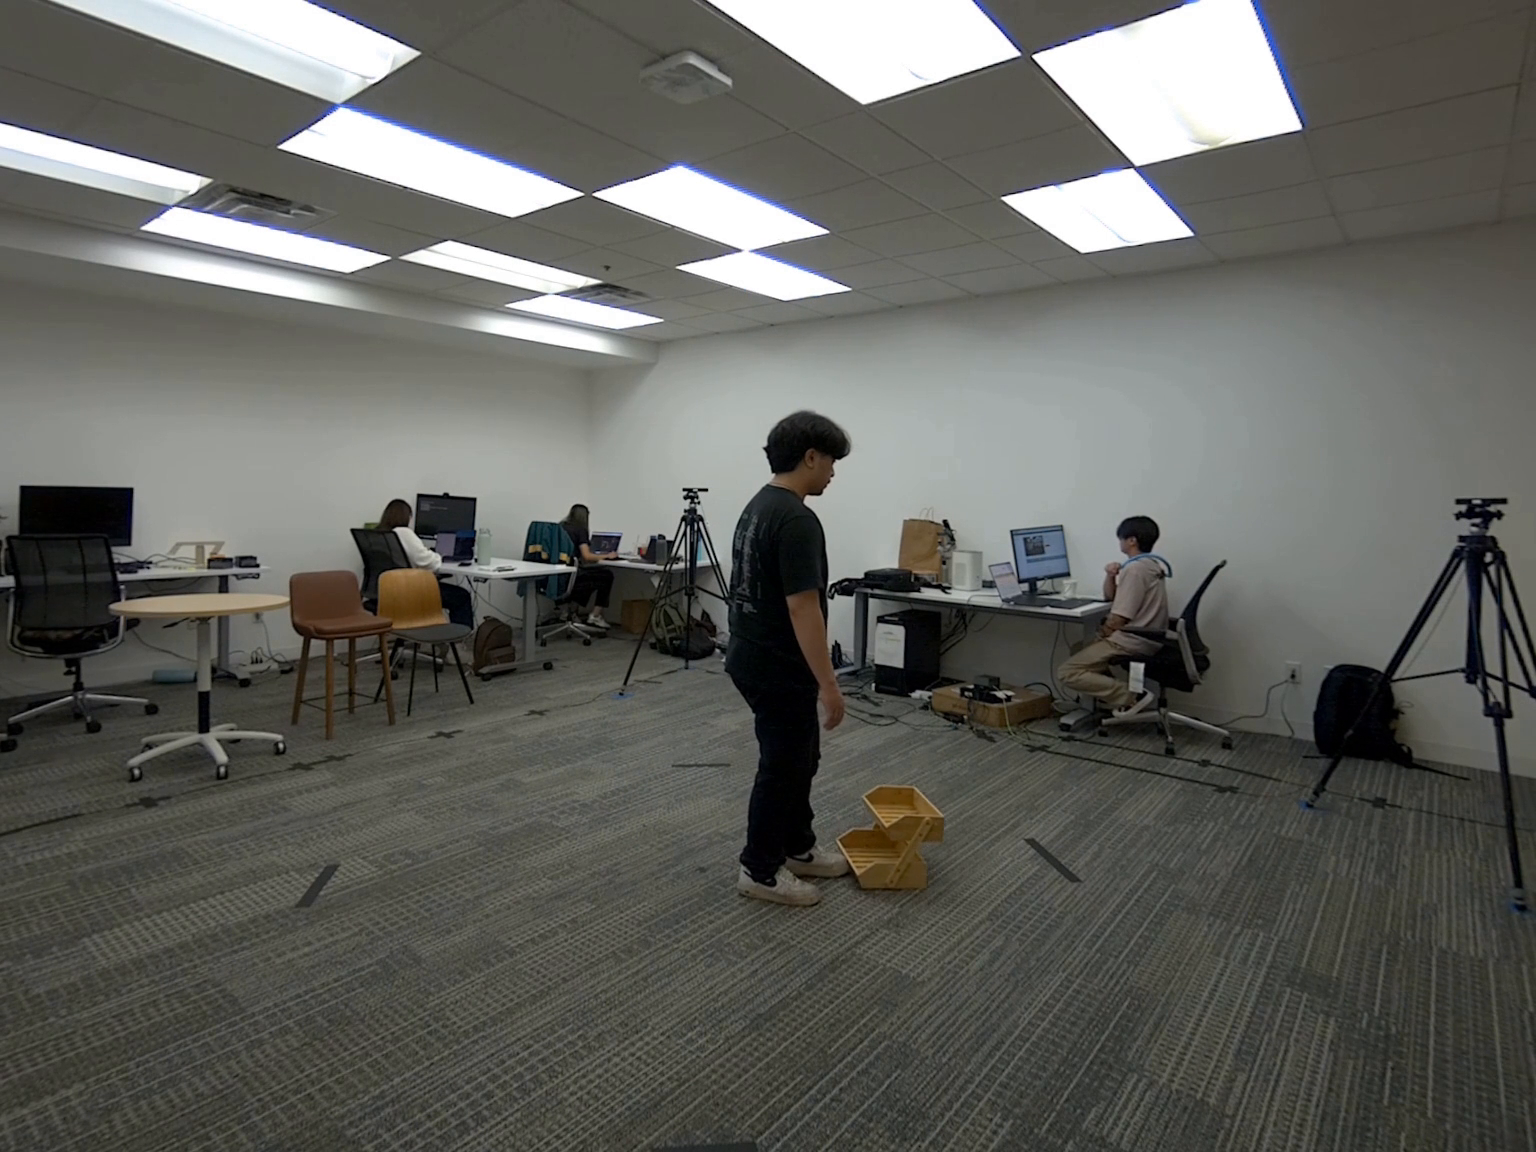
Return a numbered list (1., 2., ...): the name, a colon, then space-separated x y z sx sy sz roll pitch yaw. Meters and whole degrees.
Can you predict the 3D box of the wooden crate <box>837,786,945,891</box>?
1. wooden crate: 0.426 0.946 3.132 0.299 0.272 0.329 3 5 -9
